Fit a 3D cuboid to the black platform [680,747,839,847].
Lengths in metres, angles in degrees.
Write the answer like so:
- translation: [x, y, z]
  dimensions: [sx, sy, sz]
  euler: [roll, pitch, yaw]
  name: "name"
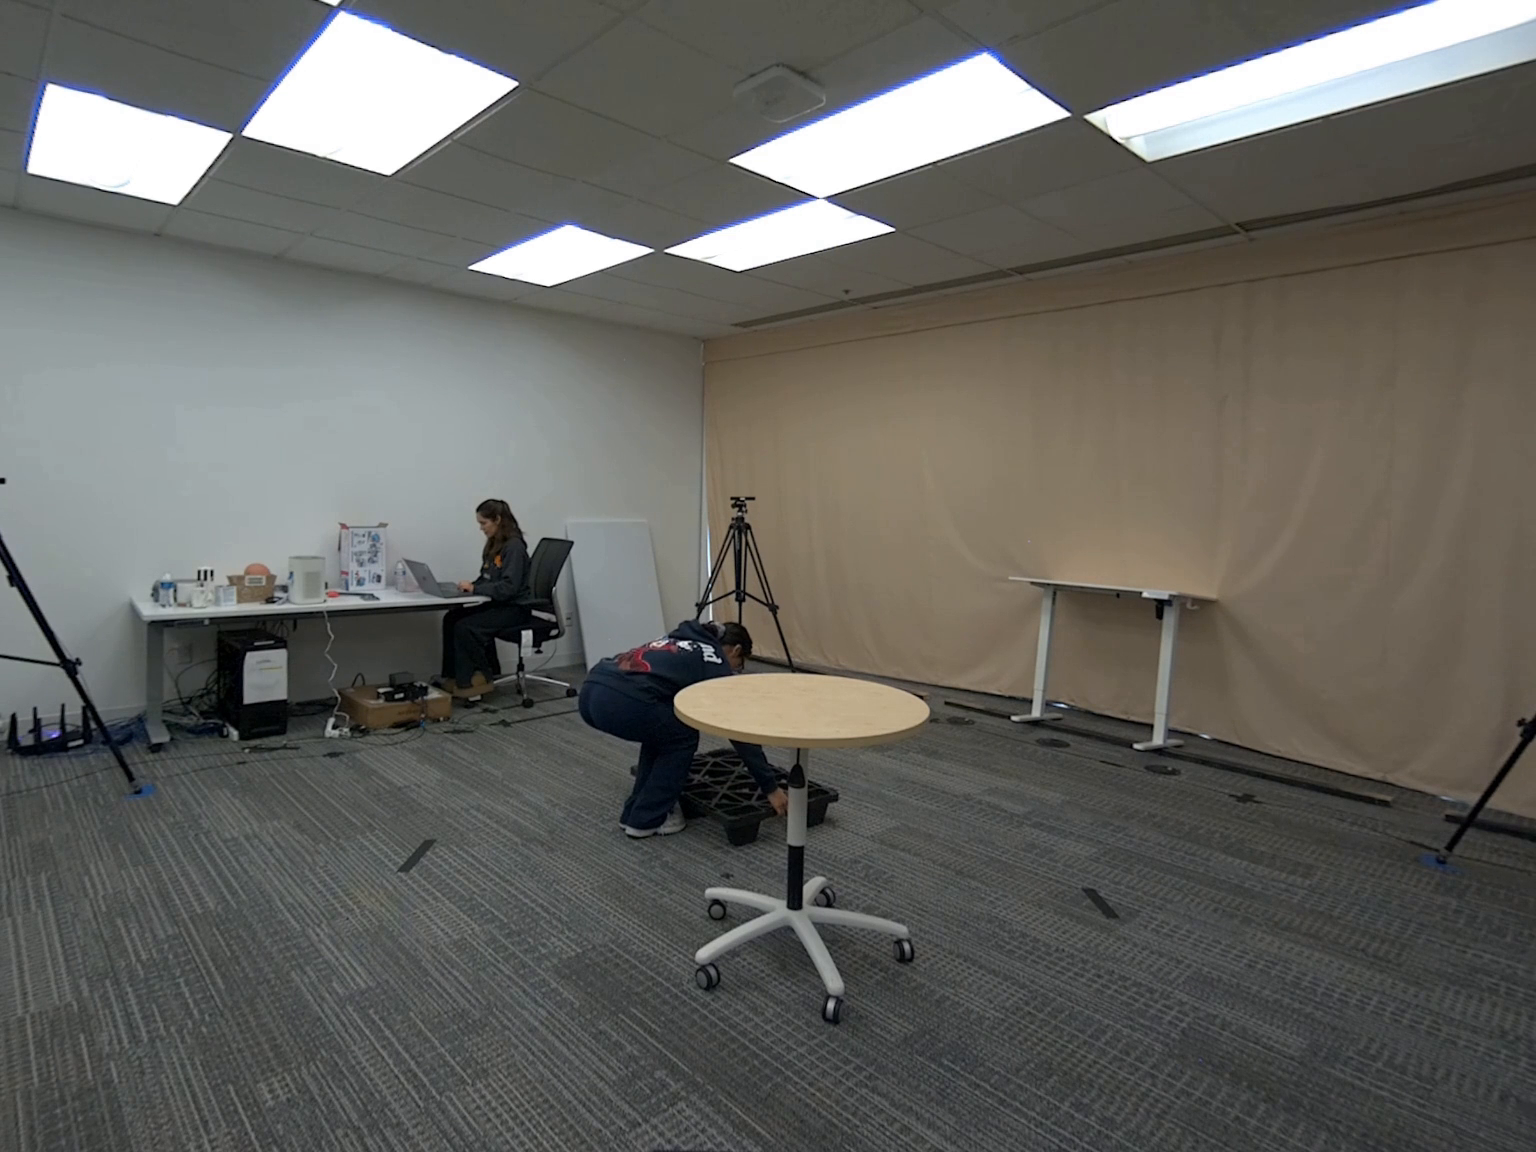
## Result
- translation: [-0.182, 0.977, 3.787]
  dimensions: [0.592, 0.143, 0.826]
  euler: [-3, 6, -38]
  name: "black platform"
